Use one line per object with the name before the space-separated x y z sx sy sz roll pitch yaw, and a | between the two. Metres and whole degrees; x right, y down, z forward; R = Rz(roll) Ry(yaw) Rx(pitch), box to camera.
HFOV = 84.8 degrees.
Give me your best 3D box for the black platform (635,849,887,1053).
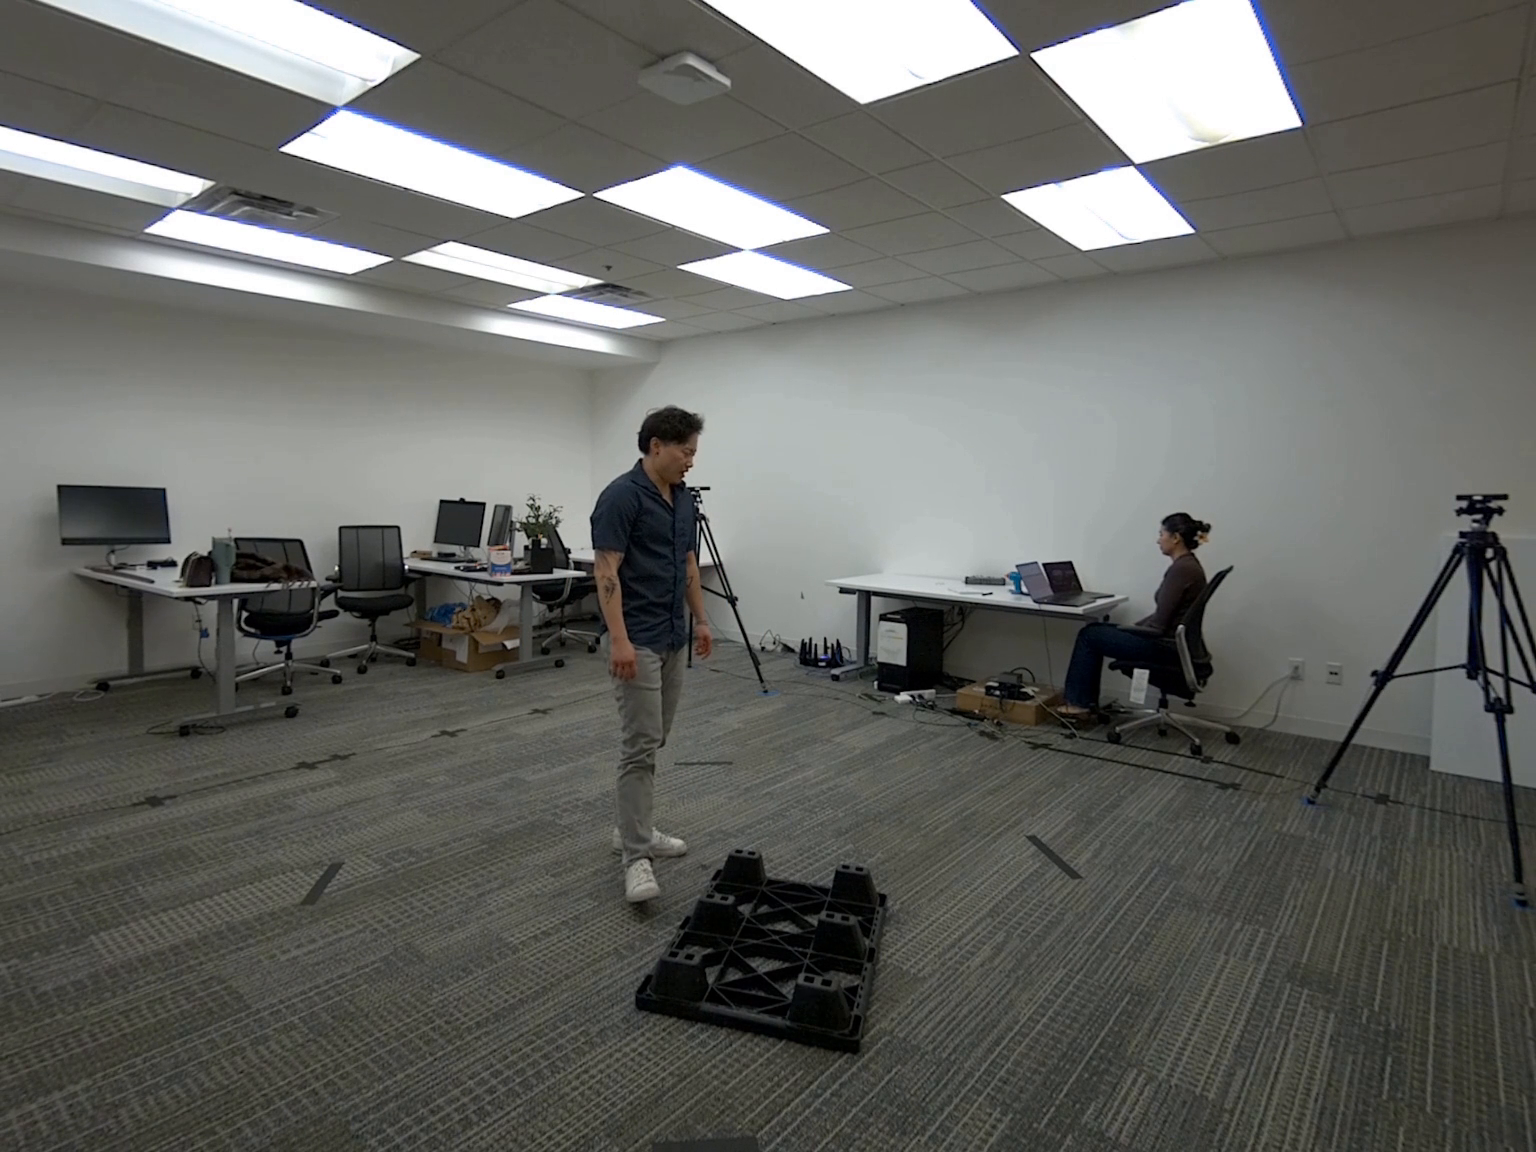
black platform | 0.022 1.060 2.551 0.615 0.143 0.796 2 6 14
